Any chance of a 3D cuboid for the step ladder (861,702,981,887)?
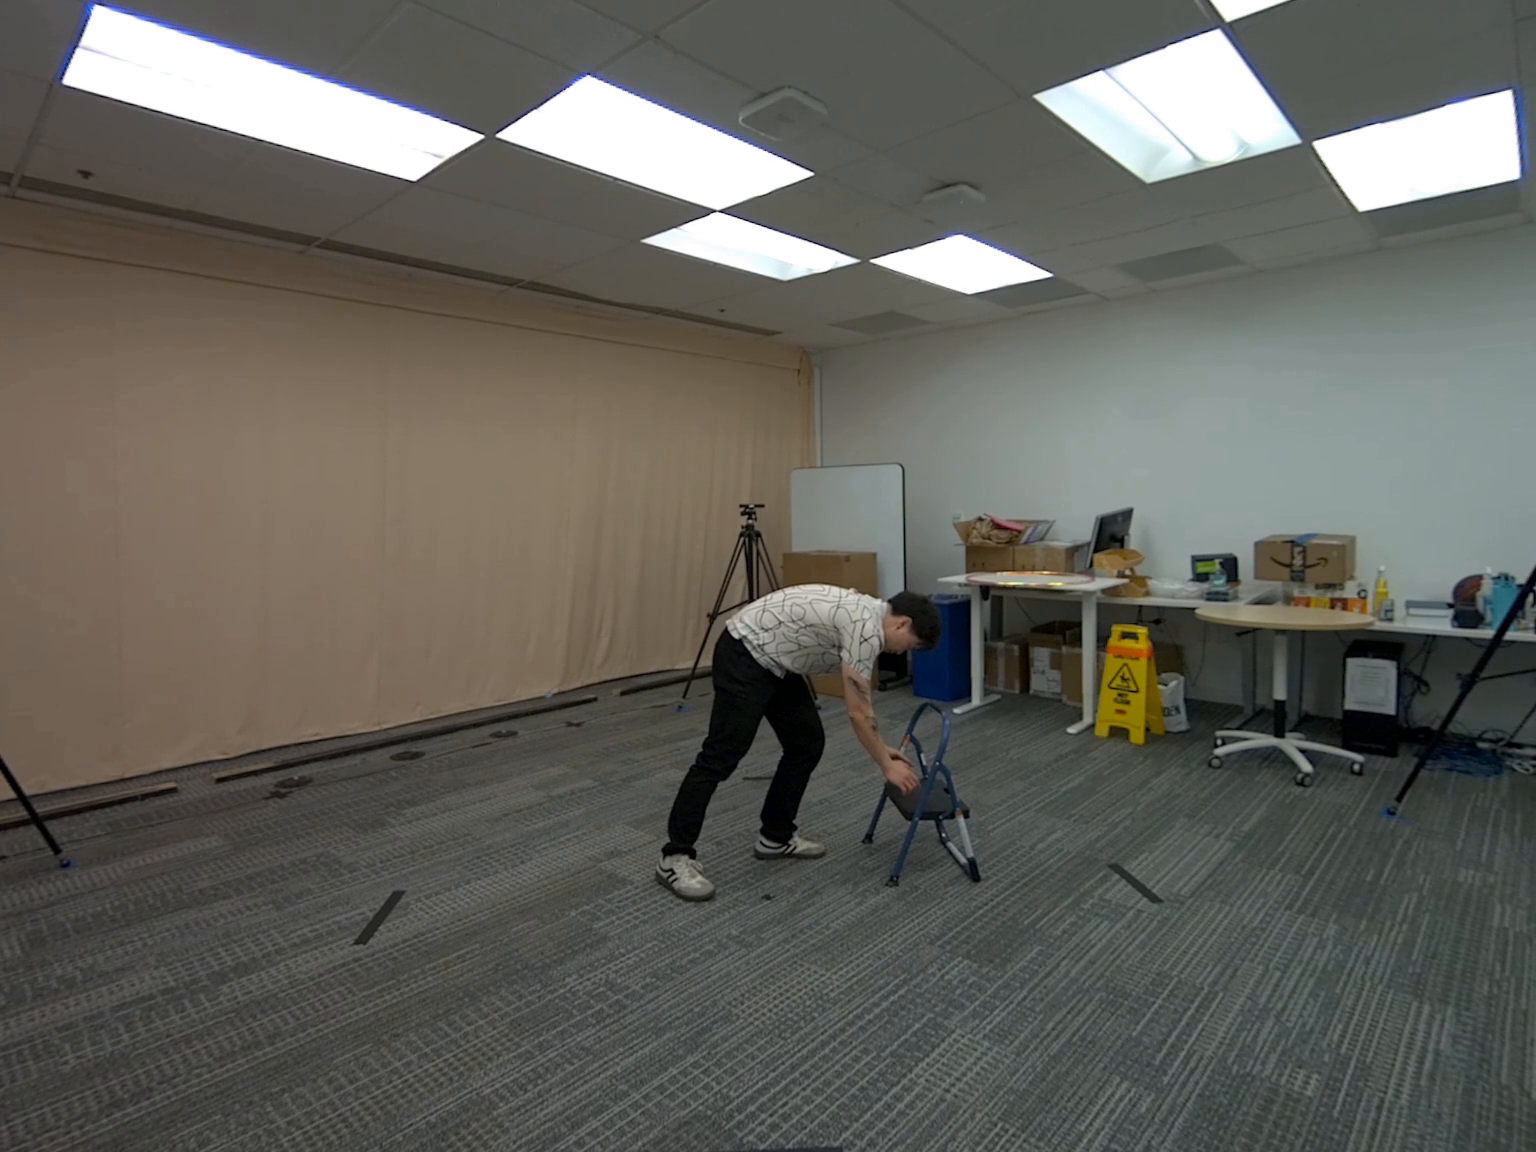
[{"bbox_3d":[0.587,0.804,3.248,0.348,0.605,0.434,-1,4,-5],"label":"step ladder"}]
